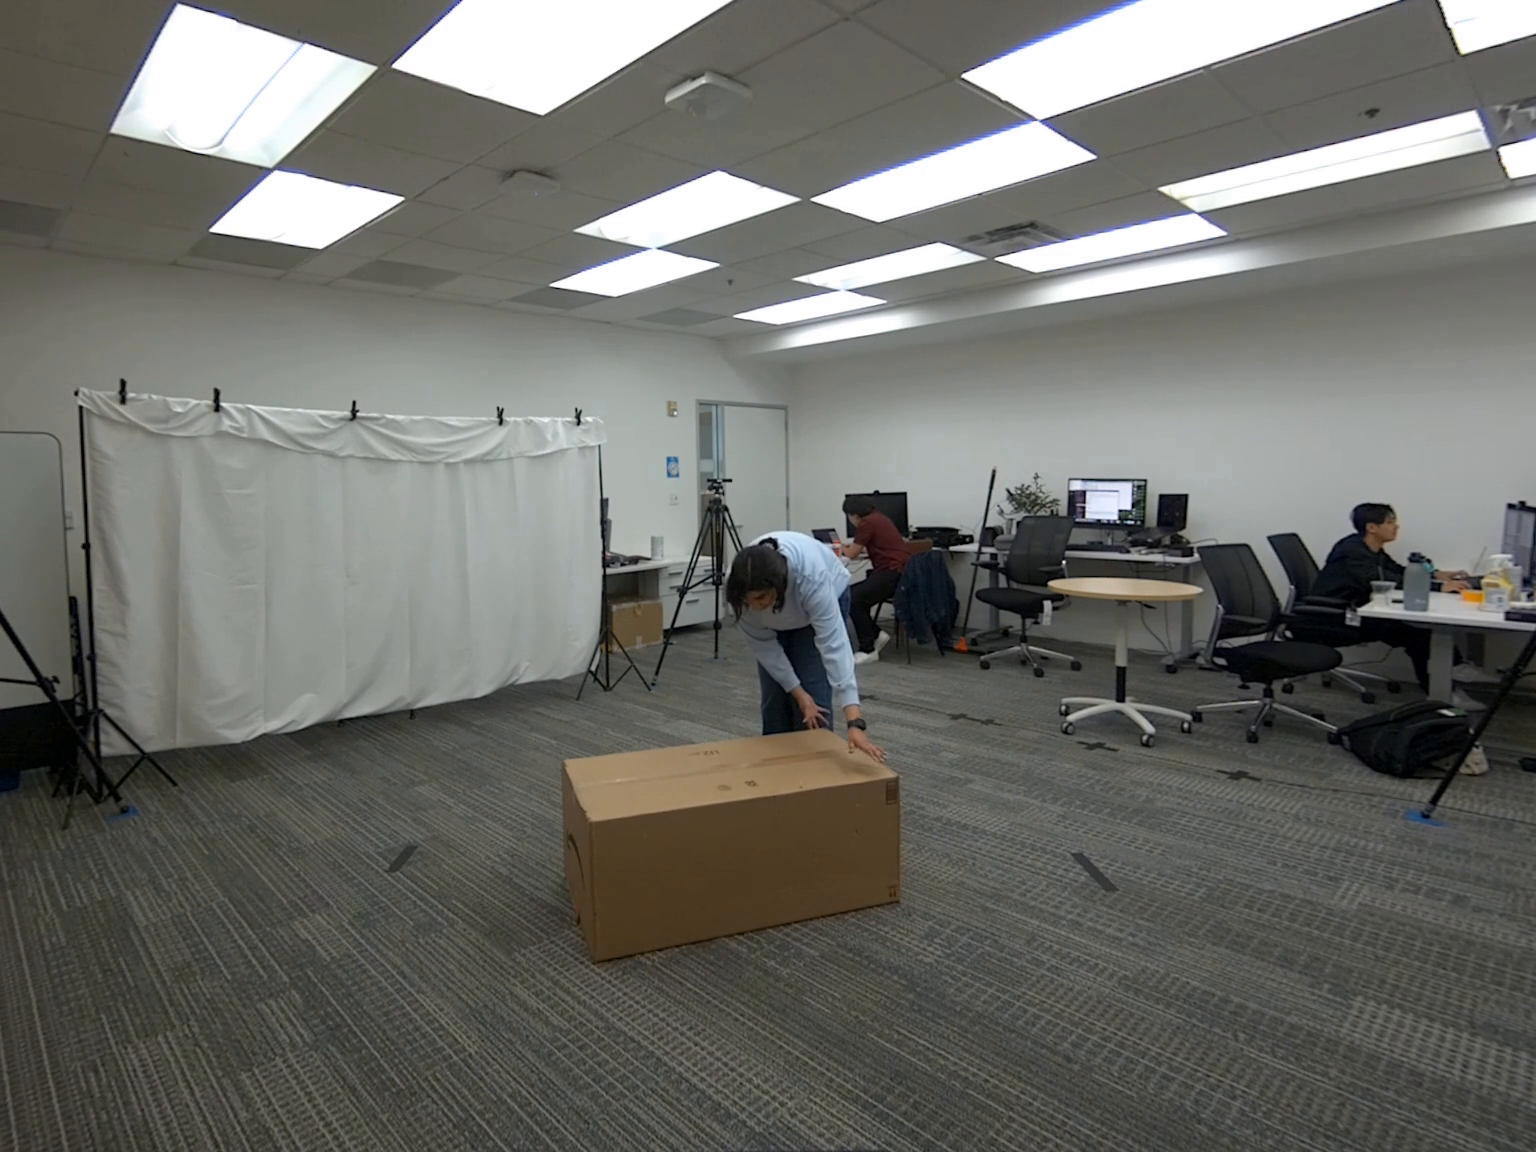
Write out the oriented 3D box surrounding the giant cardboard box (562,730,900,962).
[{"bbox_3d":[-0.145,0.858,2.895,1.008,0.424,0.590,-3,6,-19],"label":"giant cardboard box"}]
